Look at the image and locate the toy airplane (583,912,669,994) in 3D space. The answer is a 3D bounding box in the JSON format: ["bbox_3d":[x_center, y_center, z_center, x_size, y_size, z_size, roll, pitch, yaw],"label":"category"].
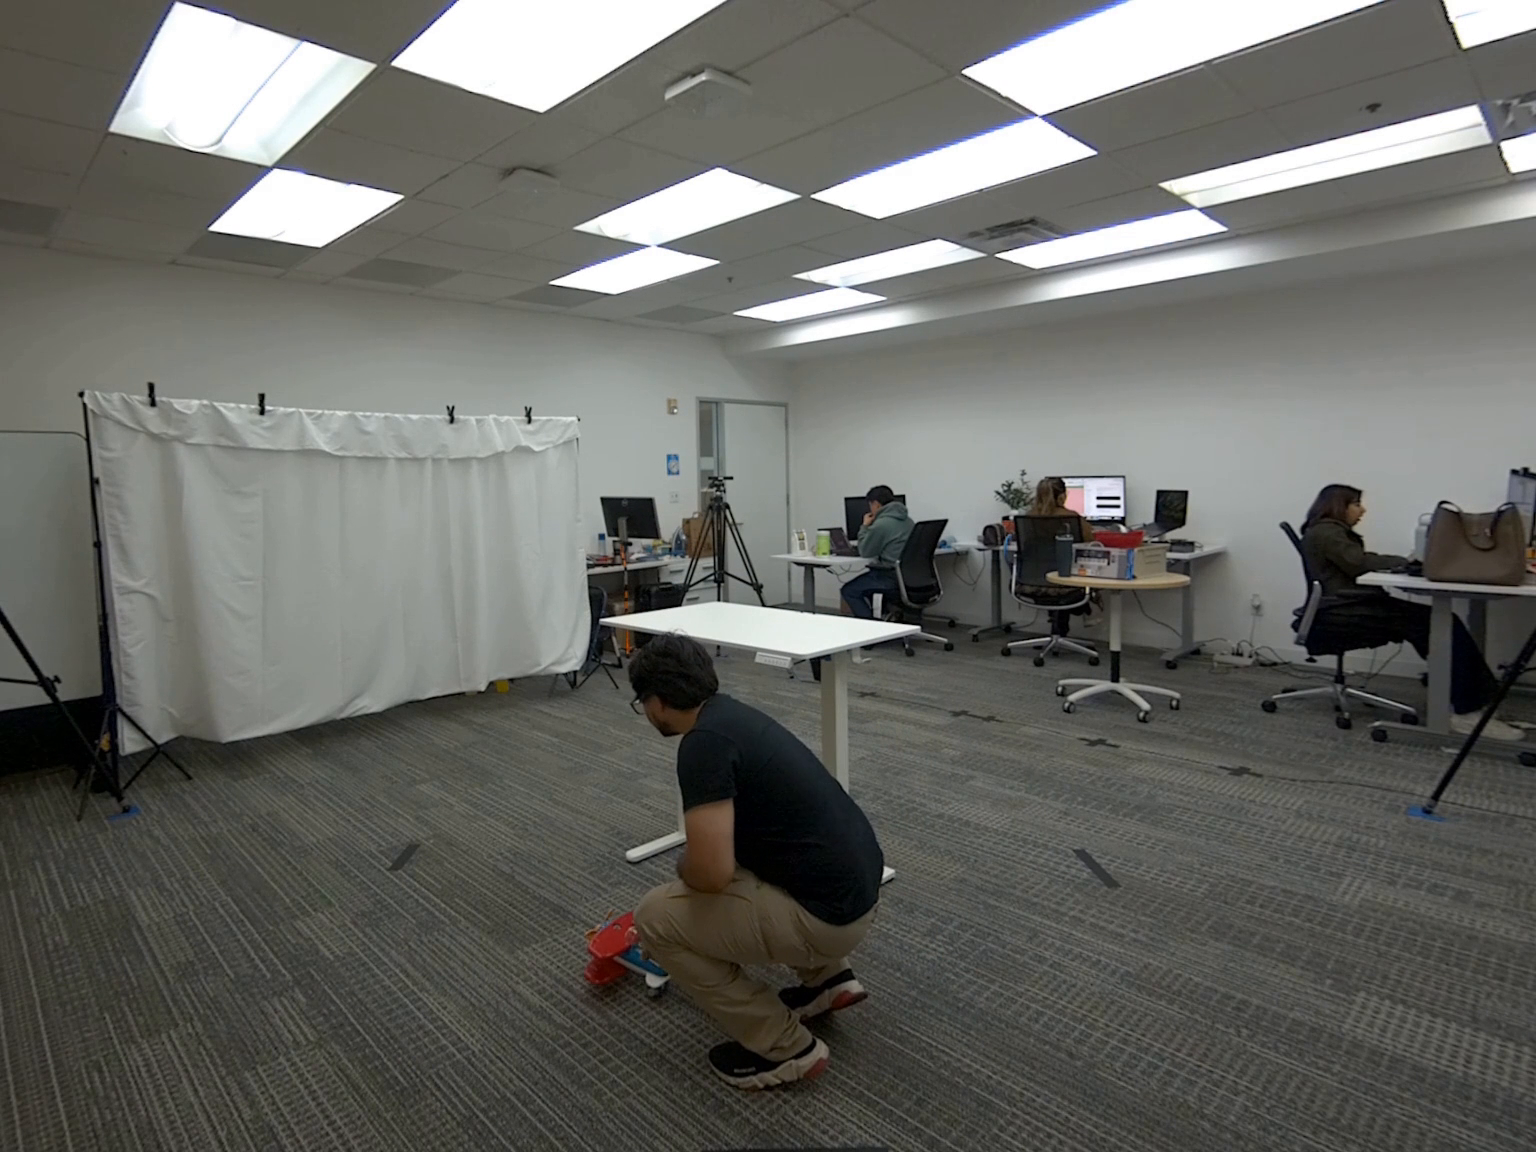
[{"bbox_3d":[-0.365,1.057,2.392,0.260,0.156,0.252,-2,6,1],"label":"toy airplane"}]
